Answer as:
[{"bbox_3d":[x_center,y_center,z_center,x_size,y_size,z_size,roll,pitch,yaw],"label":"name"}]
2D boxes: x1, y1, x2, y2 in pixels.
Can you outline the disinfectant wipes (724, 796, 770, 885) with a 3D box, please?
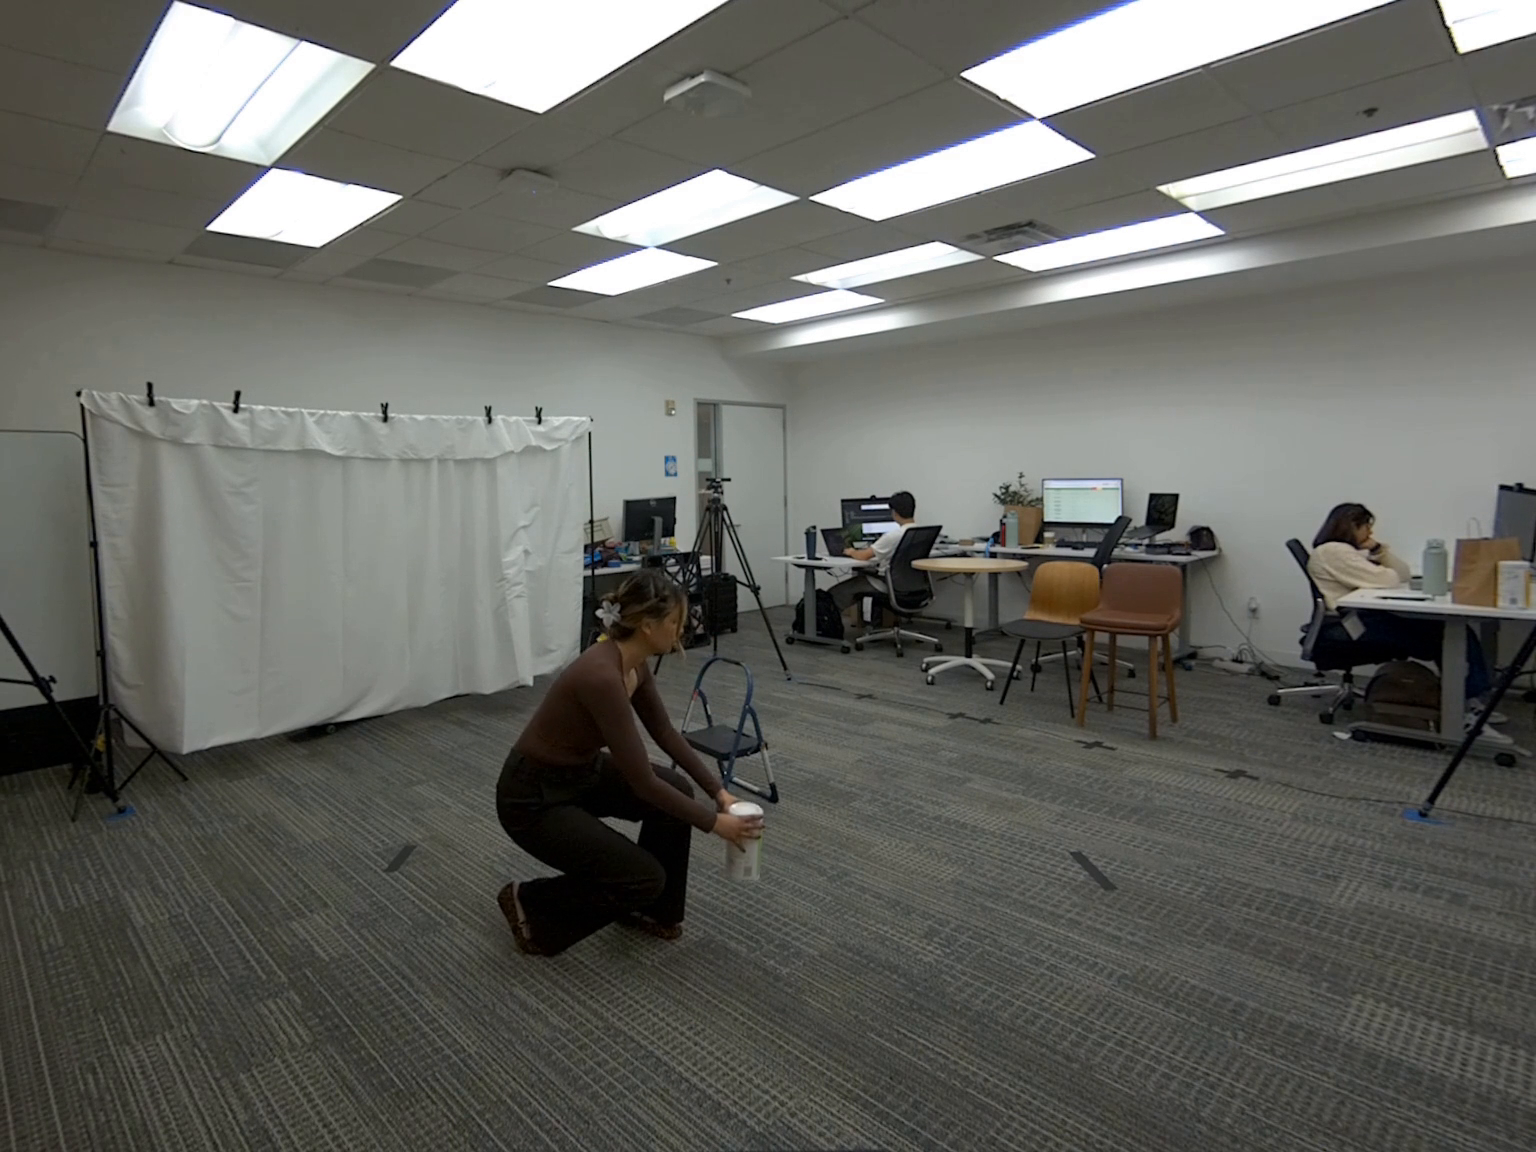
[{"bbox_3d":[-0.067,0.803,2.616,0.118,0.217,0.118,4,2,-2],"label":"disinfectant wipes"}]
